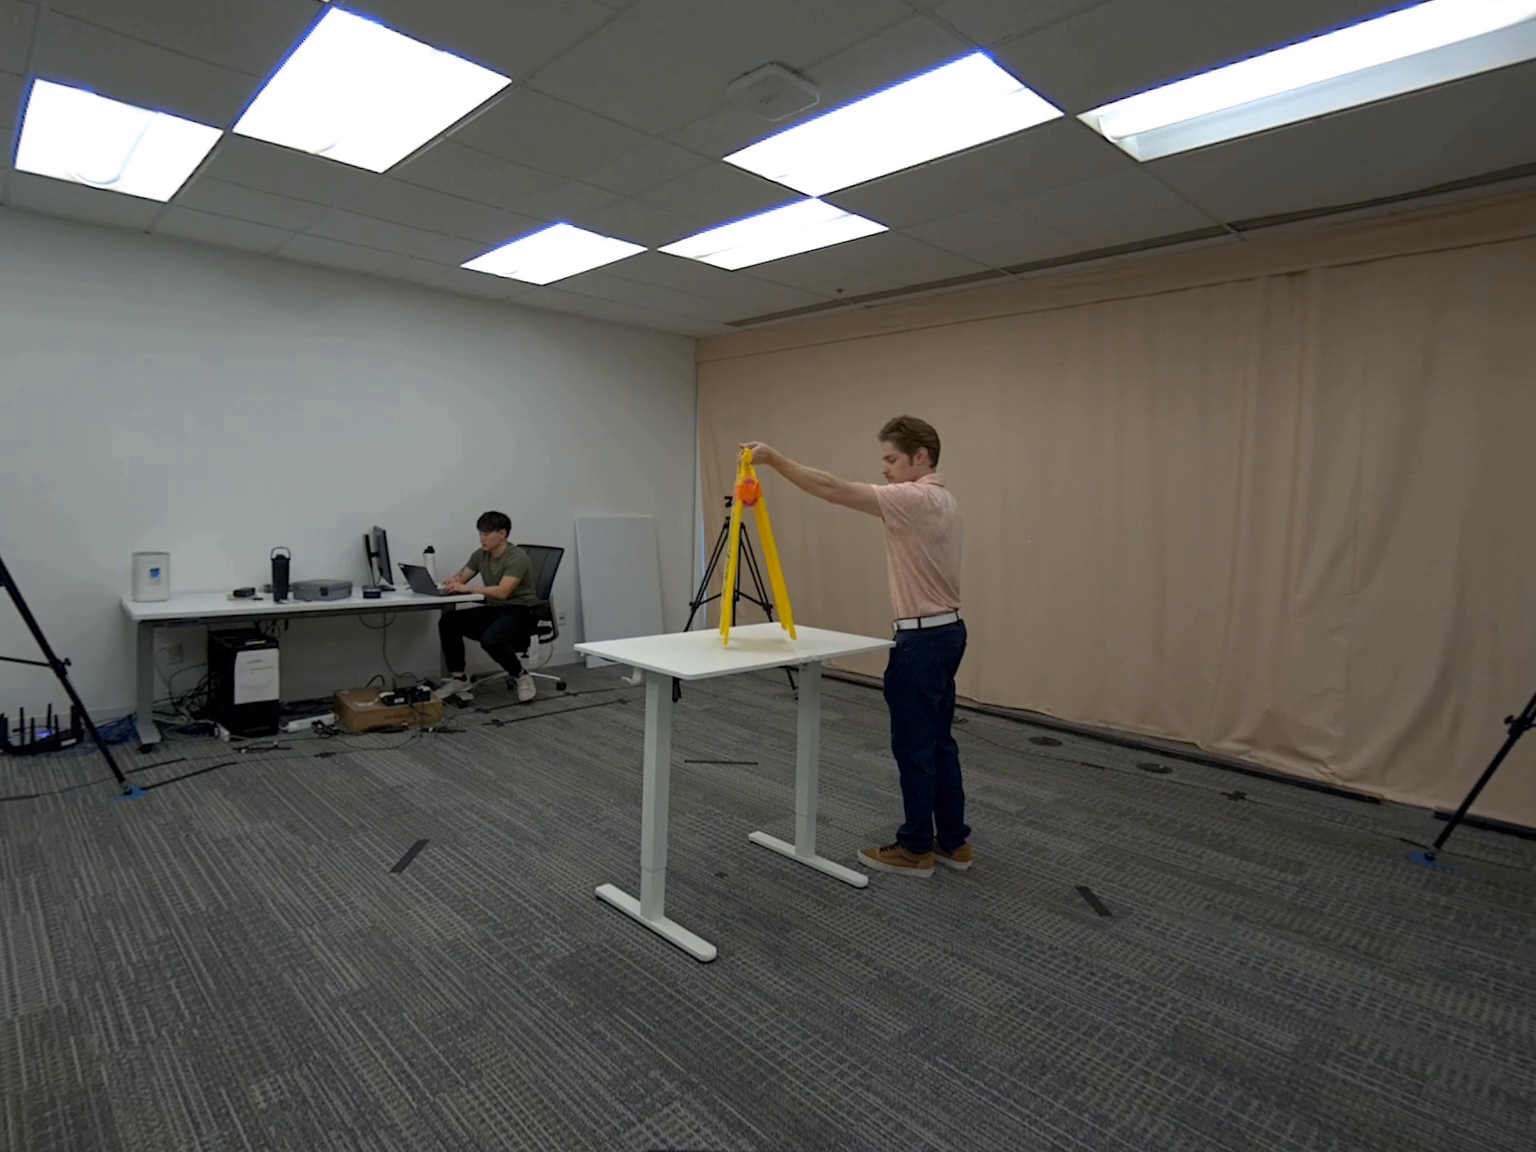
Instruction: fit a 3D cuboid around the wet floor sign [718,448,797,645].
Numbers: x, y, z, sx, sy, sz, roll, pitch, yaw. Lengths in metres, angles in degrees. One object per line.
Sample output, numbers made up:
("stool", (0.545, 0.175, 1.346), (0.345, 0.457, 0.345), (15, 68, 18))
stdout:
("wet floor sign", (-0.072, -0.106, 2.914), (0.289, 0.645, 0.283), (-4, 3, -4))
